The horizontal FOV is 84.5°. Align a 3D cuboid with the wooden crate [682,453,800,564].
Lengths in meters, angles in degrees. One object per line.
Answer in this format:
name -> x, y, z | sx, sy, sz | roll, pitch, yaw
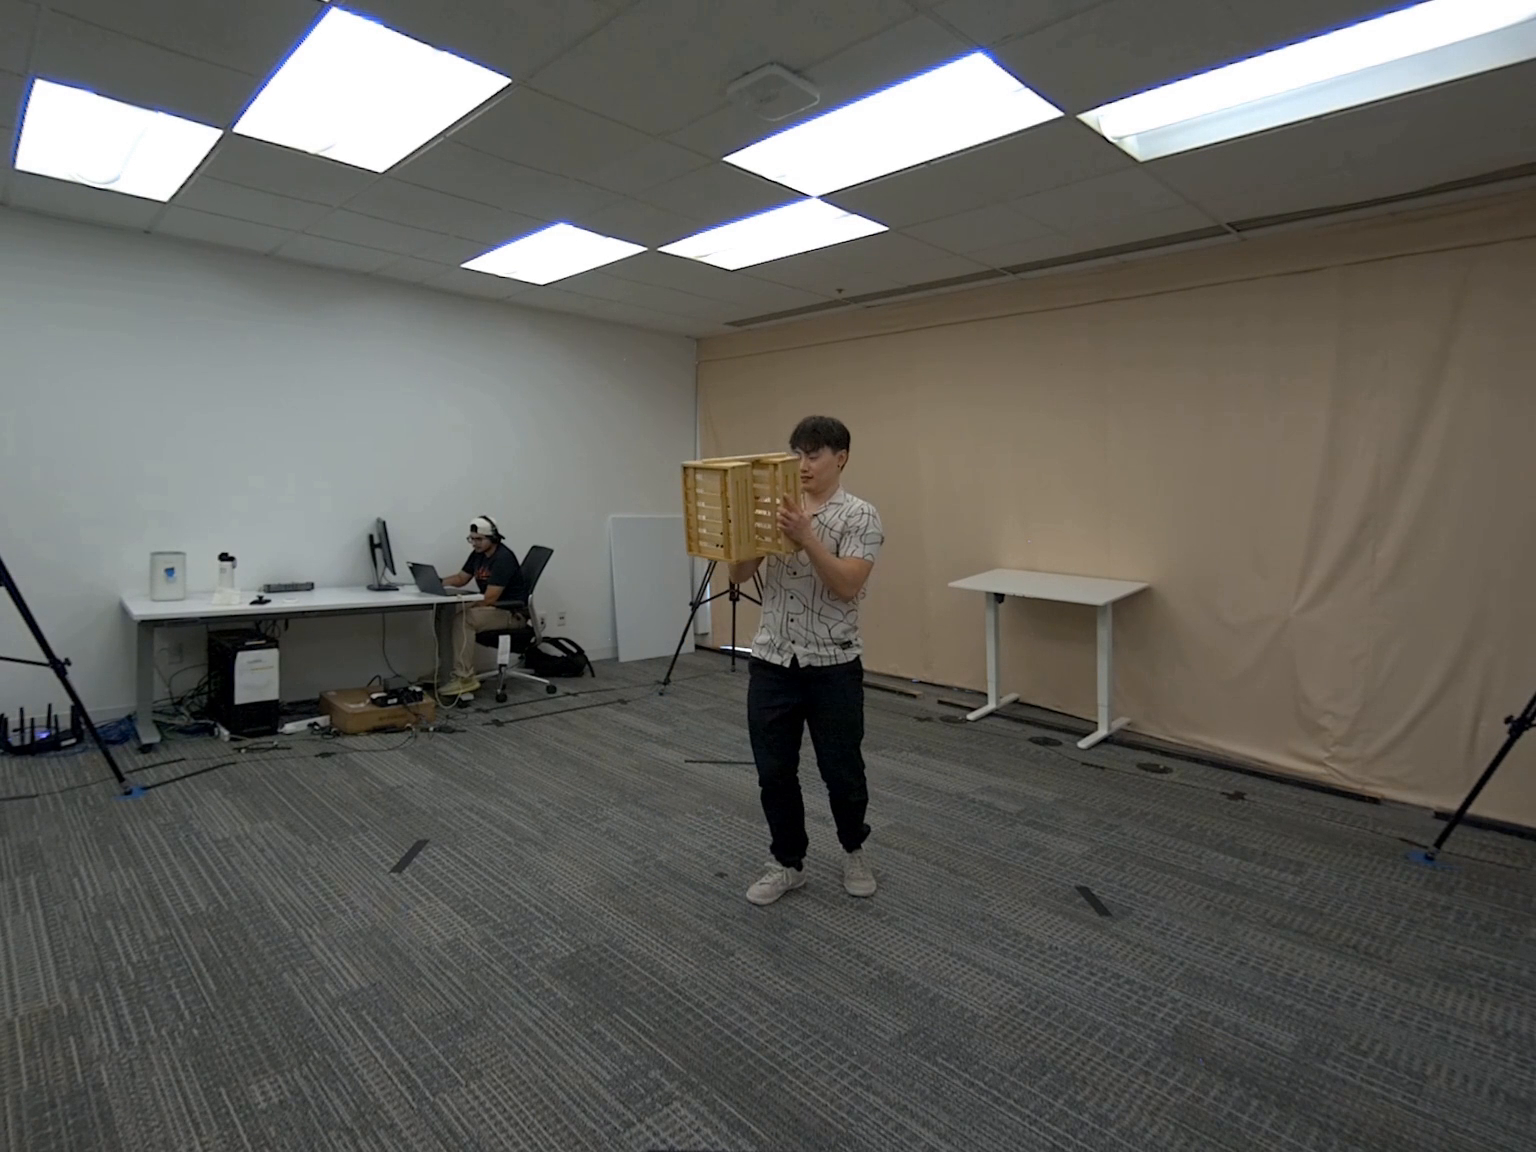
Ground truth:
wooden crate -> -0.091, -0.215, 2.705 | 0.268, 0.321, 0.310 | -15, 18, -43
